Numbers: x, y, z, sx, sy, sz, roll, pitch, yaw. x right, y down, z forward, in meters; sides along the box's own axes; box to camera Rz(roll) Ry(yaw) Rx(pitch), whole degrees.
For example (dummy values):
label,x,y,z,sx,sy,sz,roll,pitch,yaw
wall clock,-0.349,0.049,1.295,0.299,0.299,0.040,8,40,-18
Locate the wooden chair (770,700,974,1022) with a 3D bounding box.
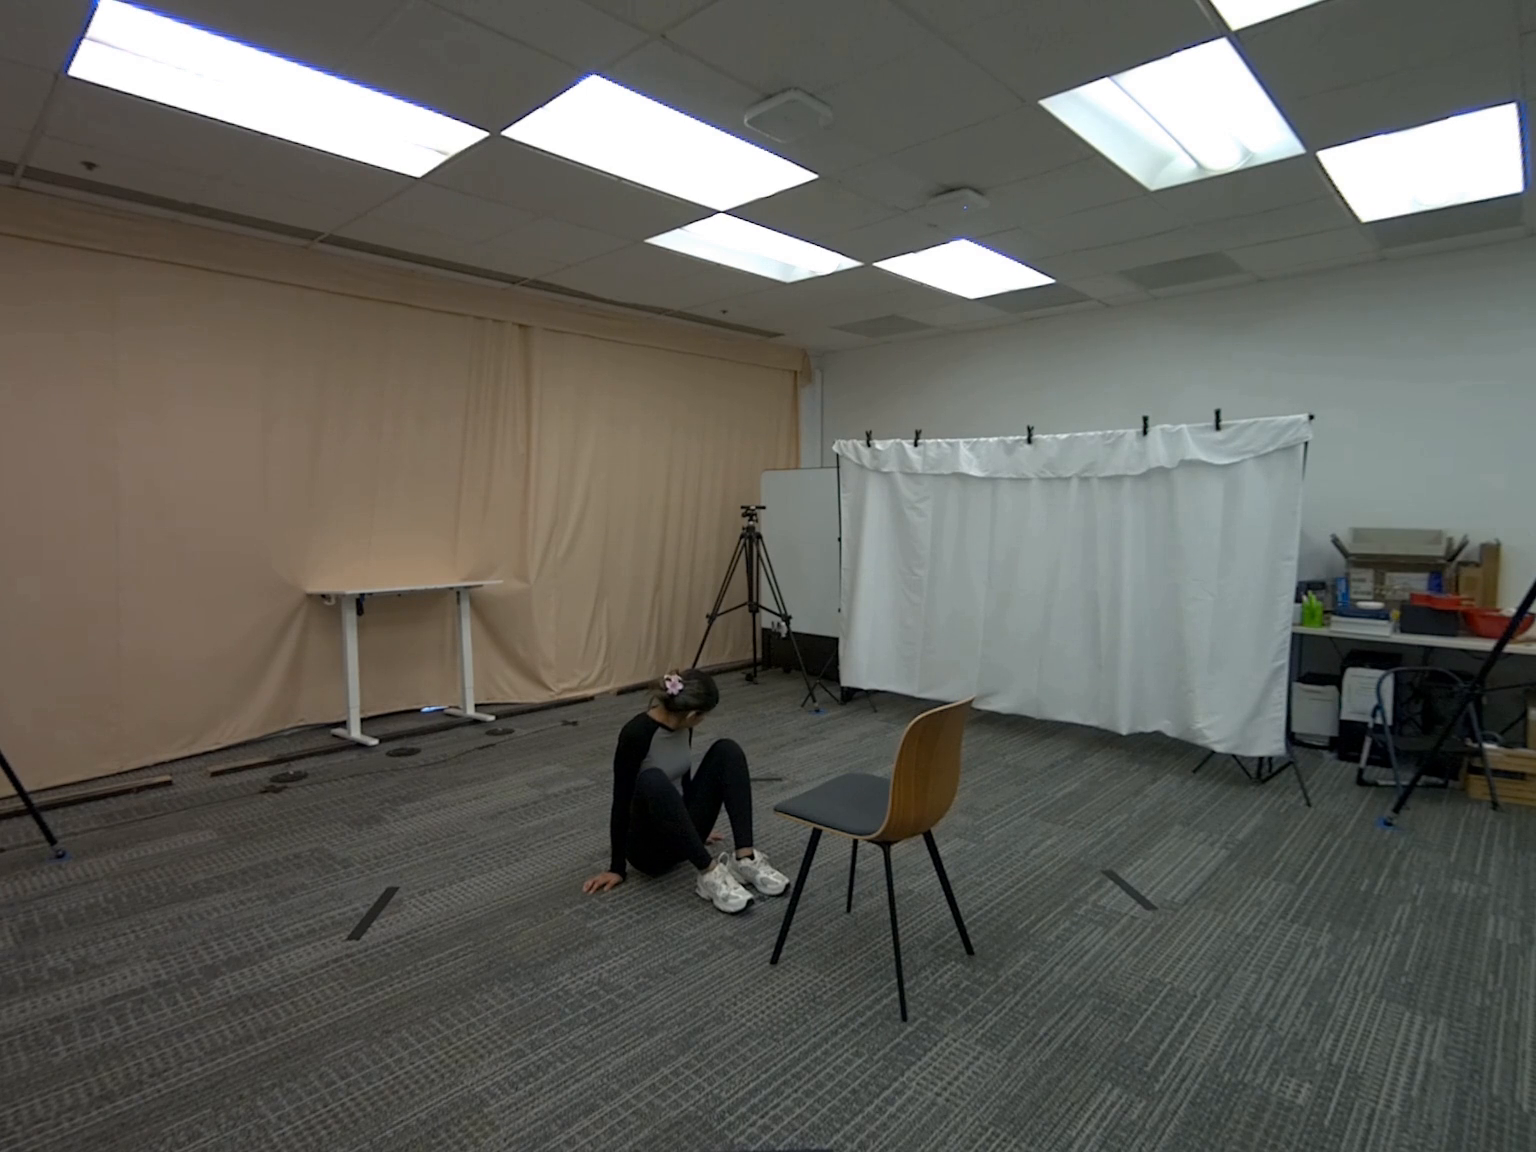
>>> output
label,x,y,z,sx,sy,sz,roll,pitch,yaw
wooden chair,0.321,0.750,2.558,0.541,0.874,0.464,8,8,38
